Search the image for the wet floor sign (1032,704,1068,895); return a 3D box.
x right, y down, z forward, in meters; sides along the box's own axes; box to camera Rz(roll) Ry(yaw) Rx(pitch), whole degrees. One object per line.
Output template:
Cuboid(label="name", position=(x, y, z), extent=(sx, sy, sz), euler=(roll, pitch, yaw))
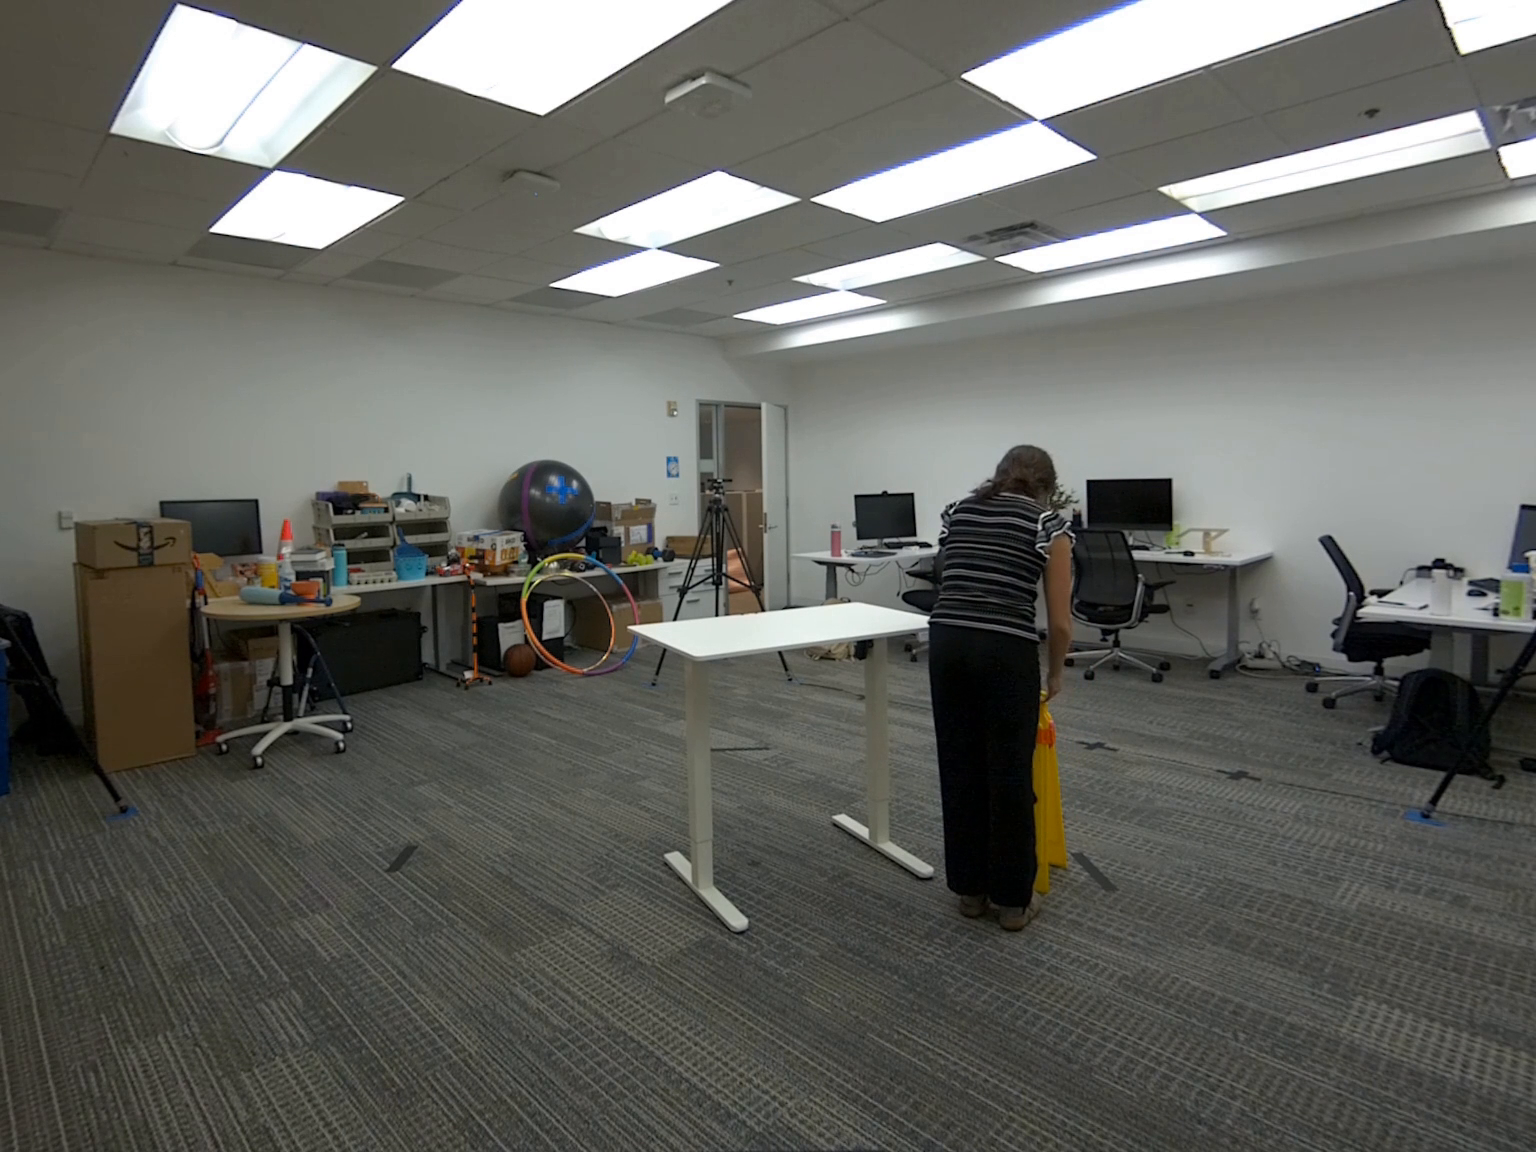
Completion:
Cuboid(label="wet floor sign", position=(0.886, 0.720, 2.999), extent=(0.290, 0.644, 0.282), euler=(1, 4, 35))
